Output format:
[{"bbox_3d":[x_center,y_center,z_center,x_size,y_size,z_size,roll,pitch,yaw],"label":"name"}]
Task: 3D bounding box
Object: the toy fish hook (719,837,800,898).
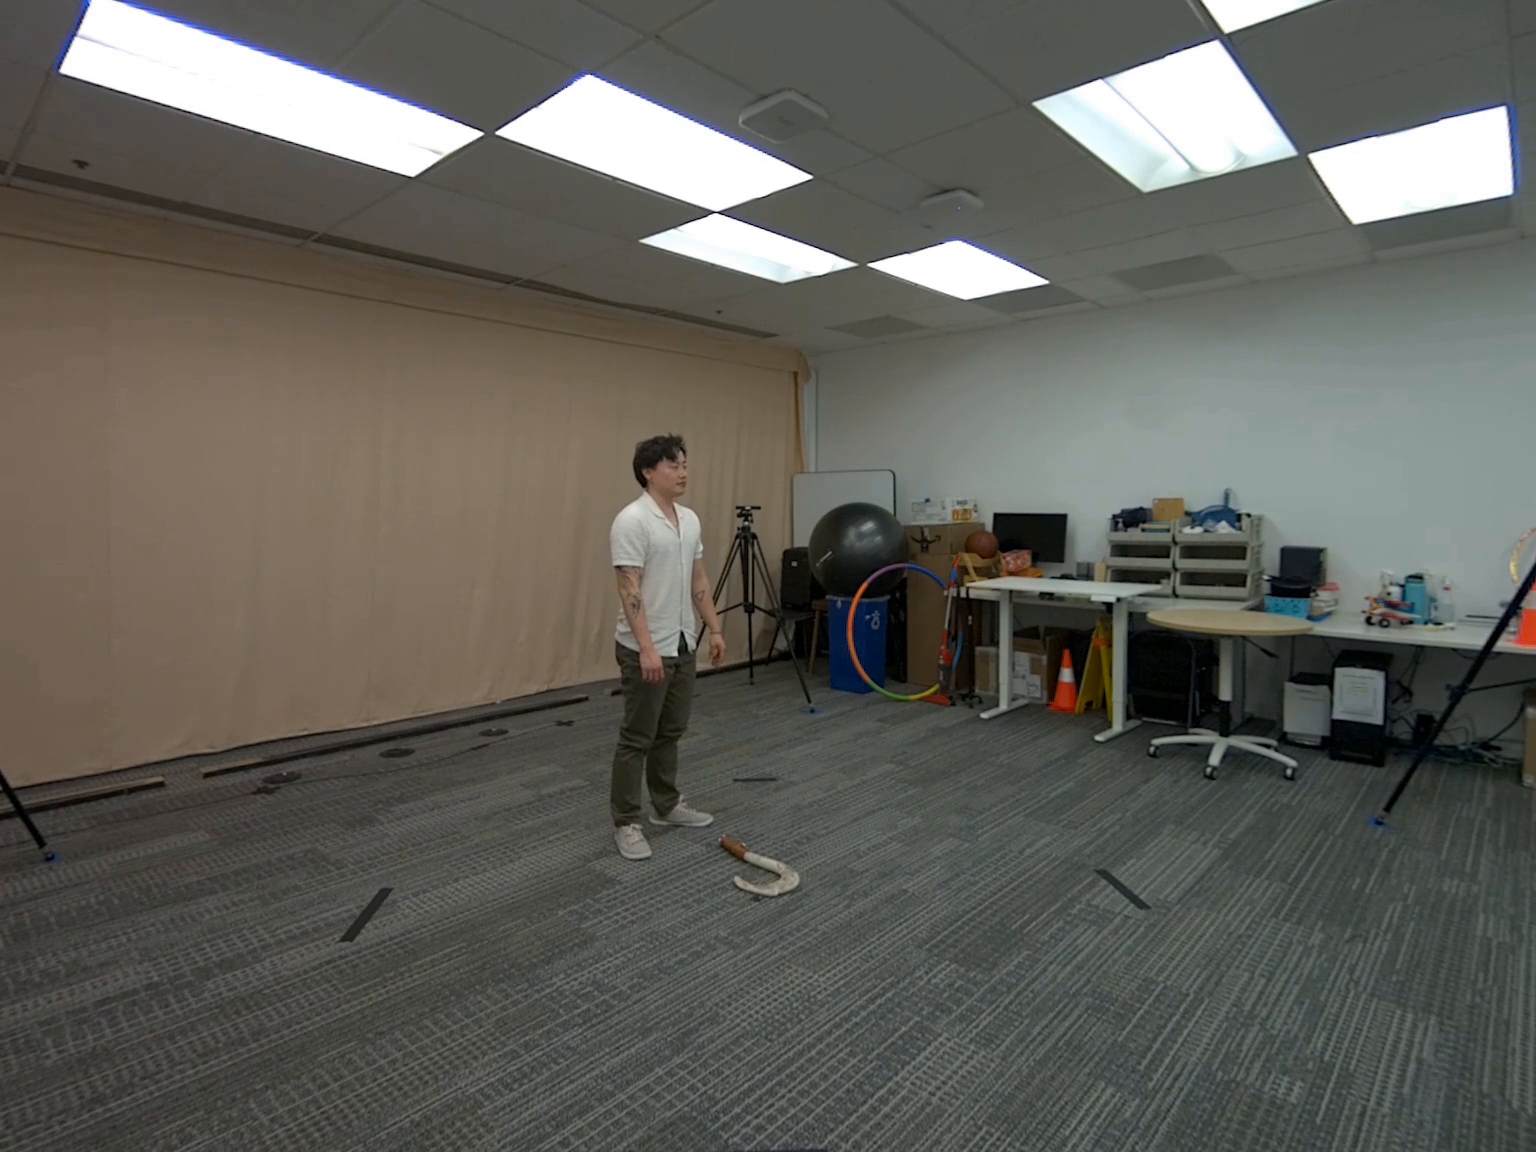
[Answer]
[{"bbox_3d":[-0.083,1.100,3.217,0.218,0.048,0.522,-3,5,-35],"label":"toy fish hook"}]
